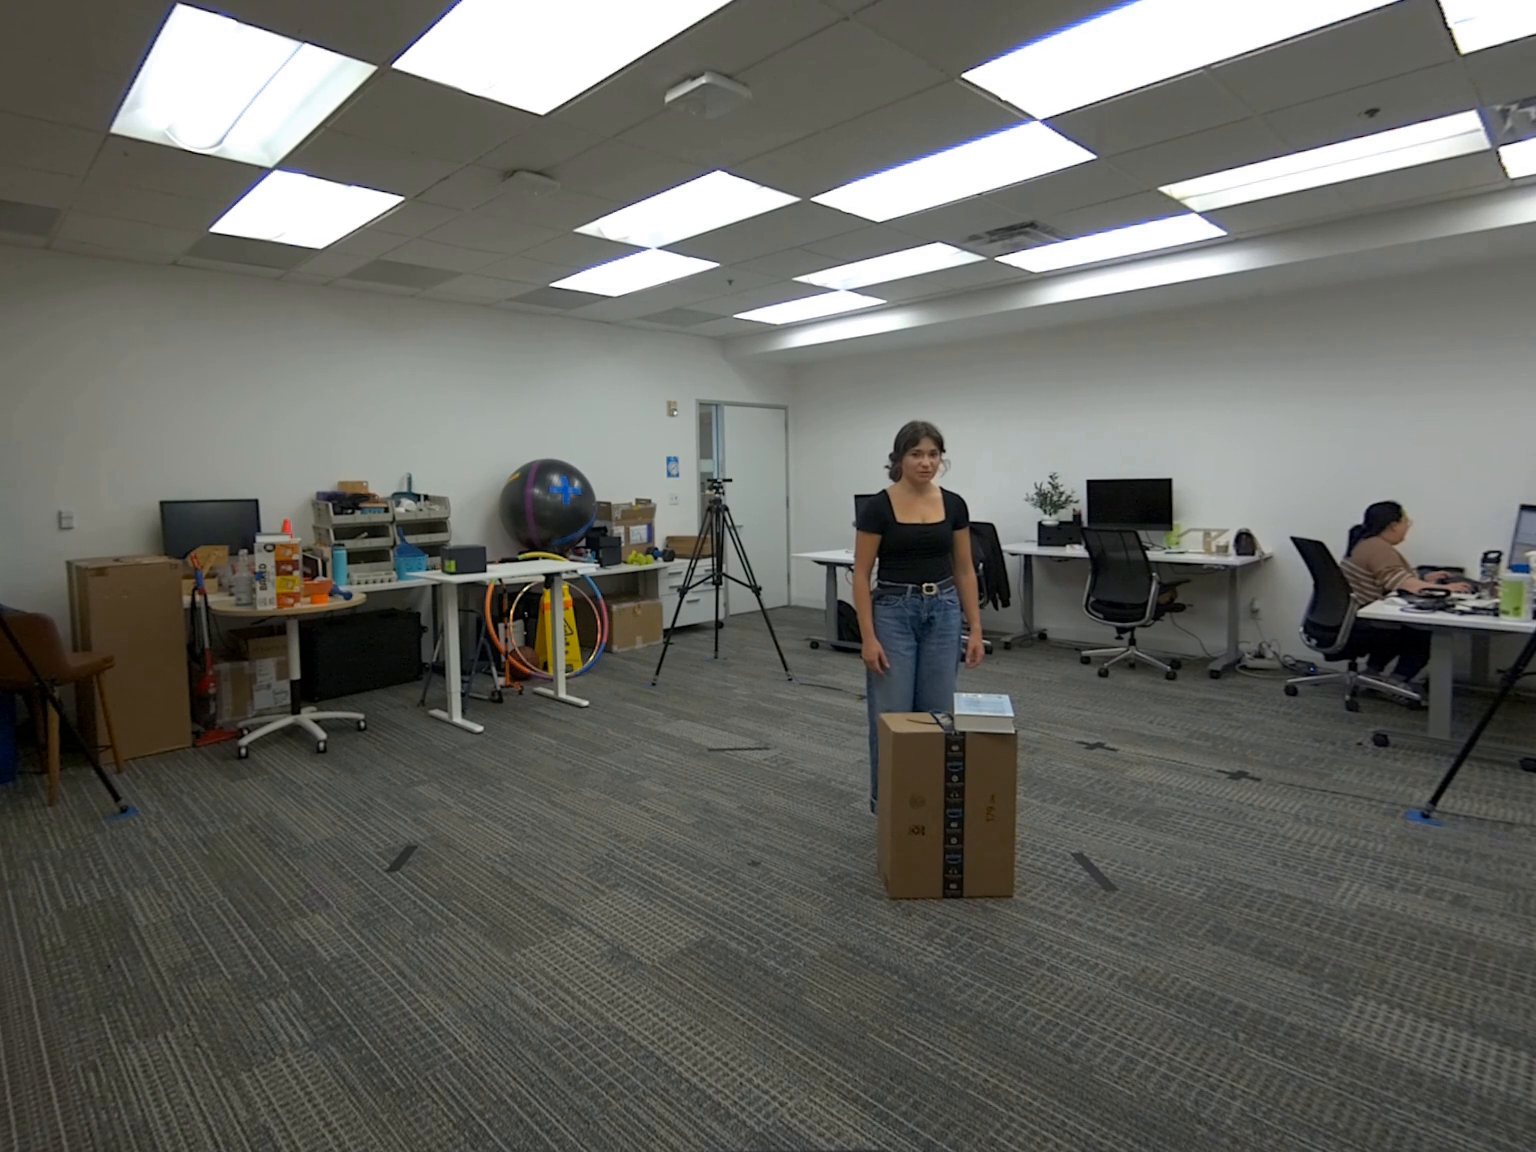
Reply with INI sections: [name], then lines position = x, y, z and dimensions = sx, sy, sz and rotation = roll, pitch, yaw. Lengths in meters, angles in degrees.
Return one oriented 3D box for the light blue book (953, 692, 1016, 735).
[light blue book]
position = 0.731, 0.463, 2.903
dimensions = 0.194, 0.059, 0.259
rotation = 0, 7, 12
